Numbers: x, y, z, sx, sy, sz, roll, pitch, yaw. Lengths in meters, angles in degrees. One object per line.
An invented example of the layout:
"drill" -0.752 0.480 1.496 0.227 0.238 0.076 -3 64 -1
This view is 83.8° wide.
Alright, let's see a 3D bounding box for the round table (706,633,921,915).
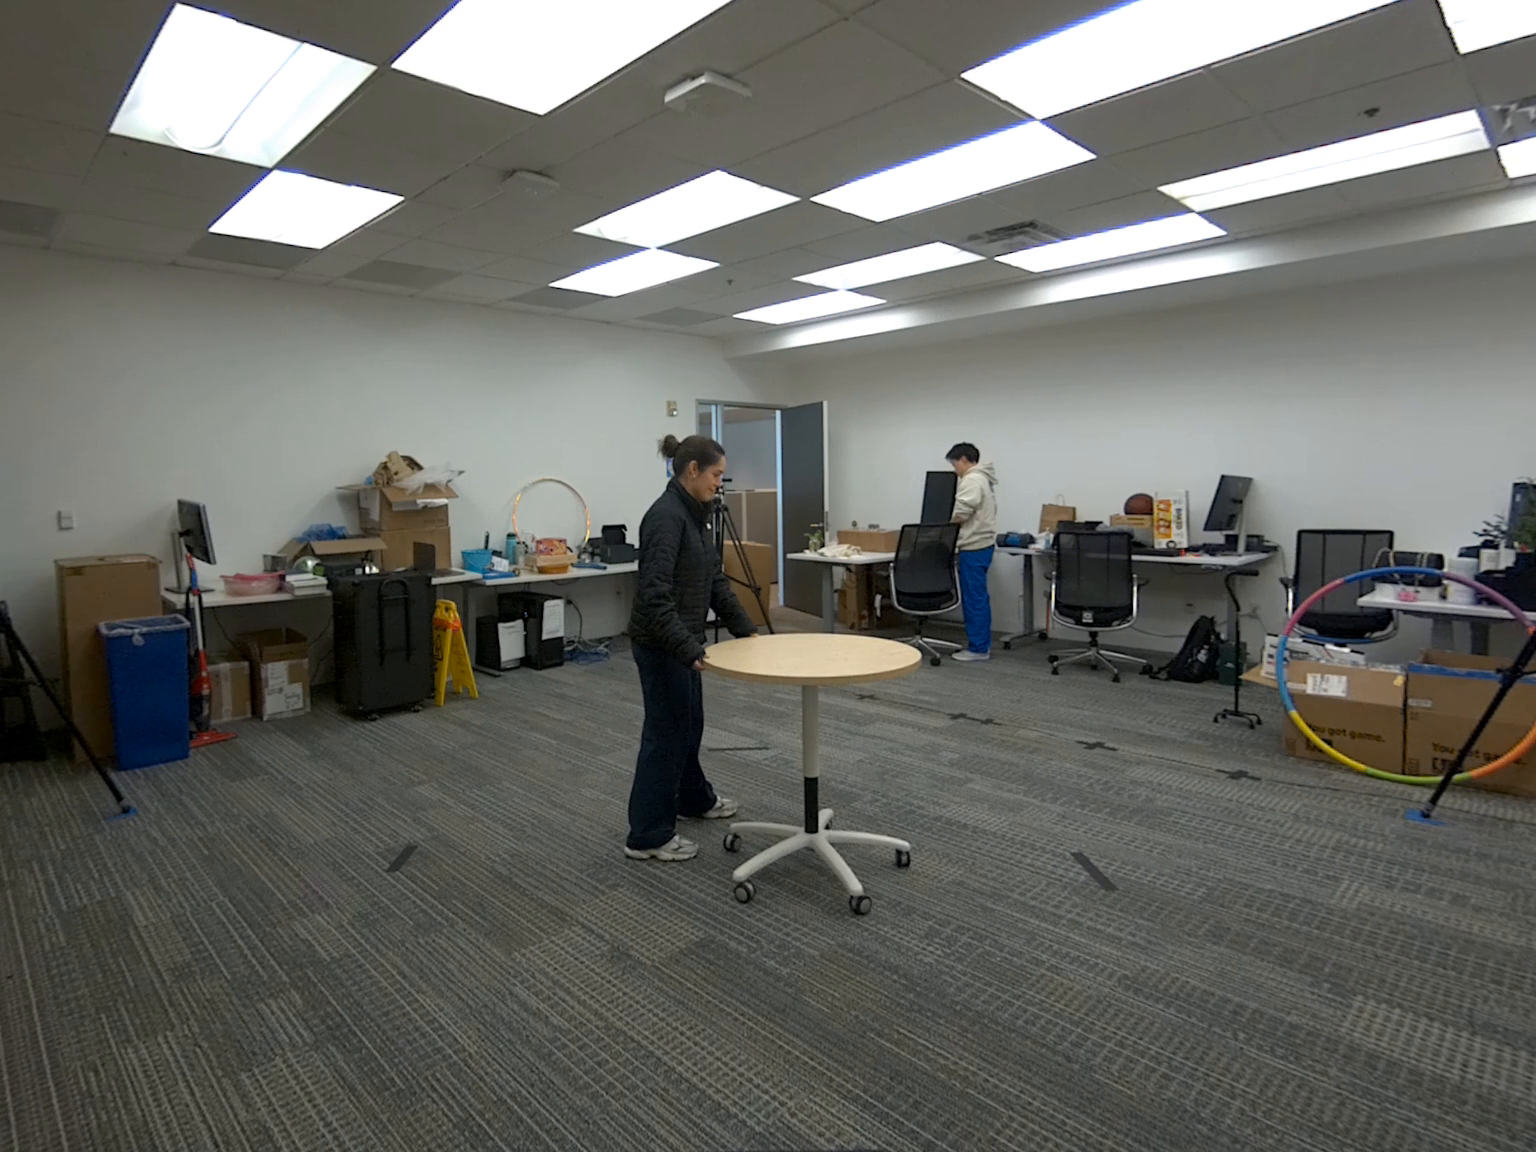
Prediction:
"round table" 0.158 0.654 3.045 0.784 0.783 0.789 -1 5 -2
